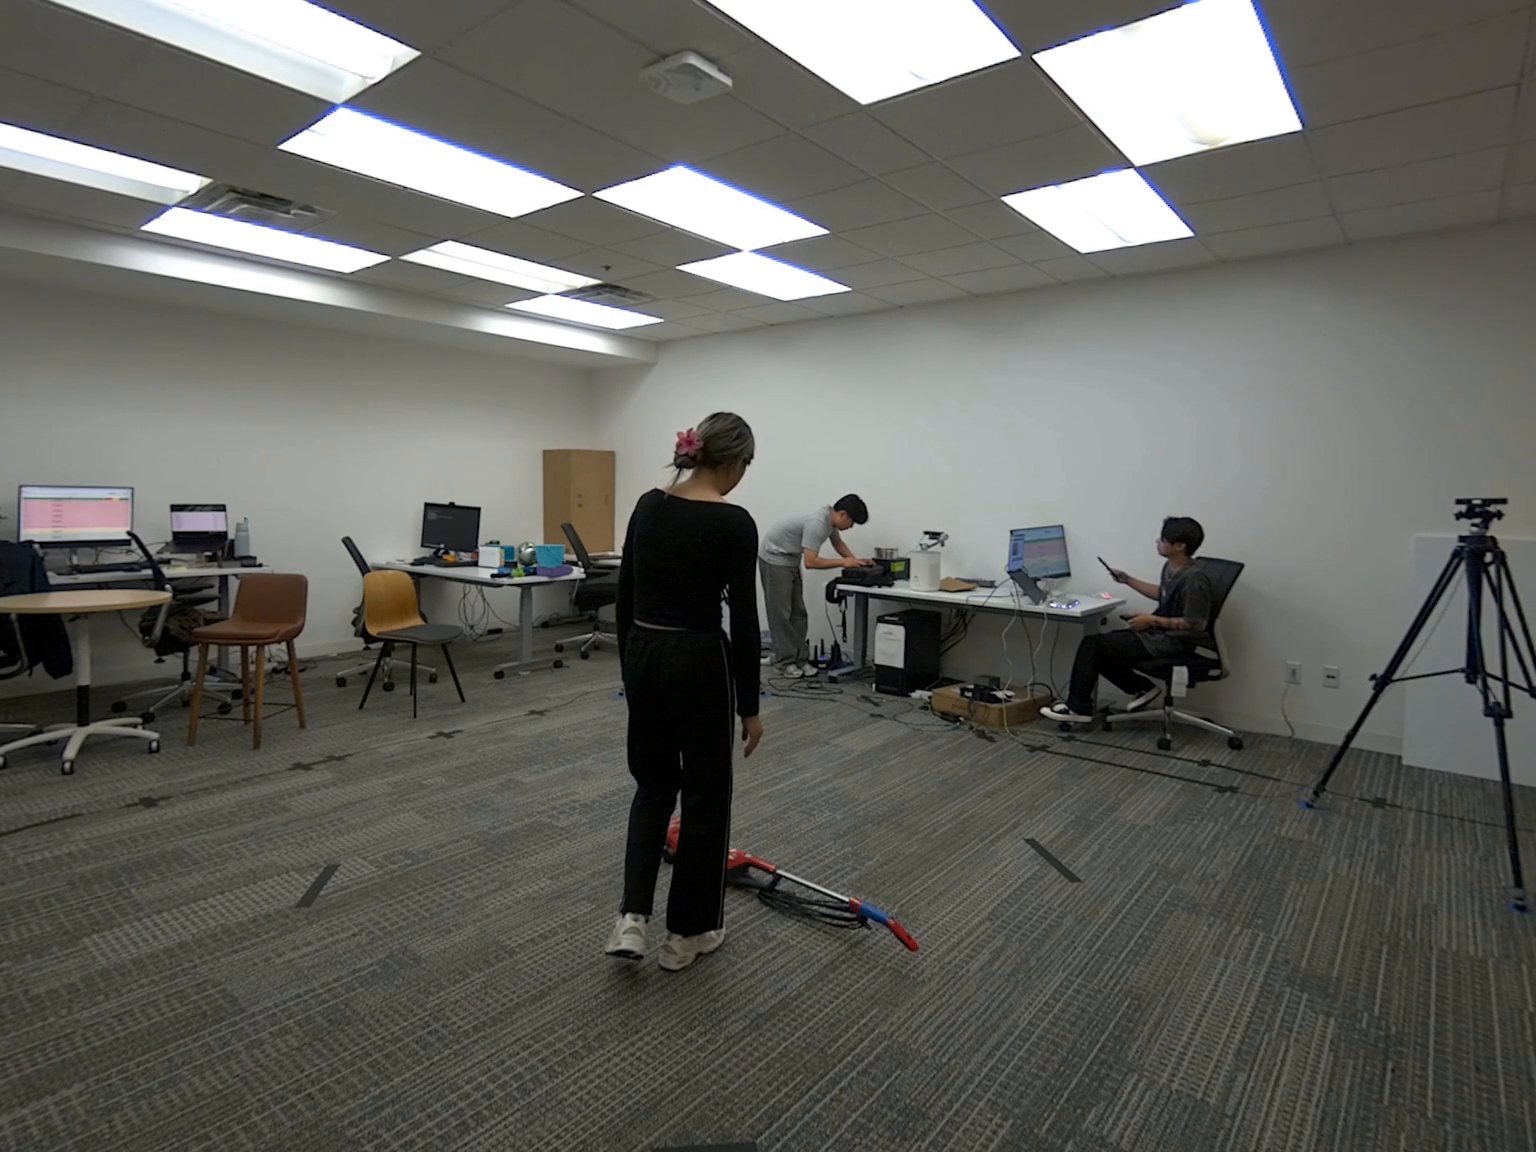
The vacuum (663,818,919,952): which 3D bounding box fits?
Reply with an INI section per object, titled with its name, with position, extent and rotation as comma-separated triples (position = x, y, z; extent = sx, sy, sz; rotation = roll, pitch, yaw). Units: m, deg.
[vacuum]
position = 0.029, 1.039, 2.856
extent = 1.086, 0.143, 0.245
rotation = 7, 9, 44
